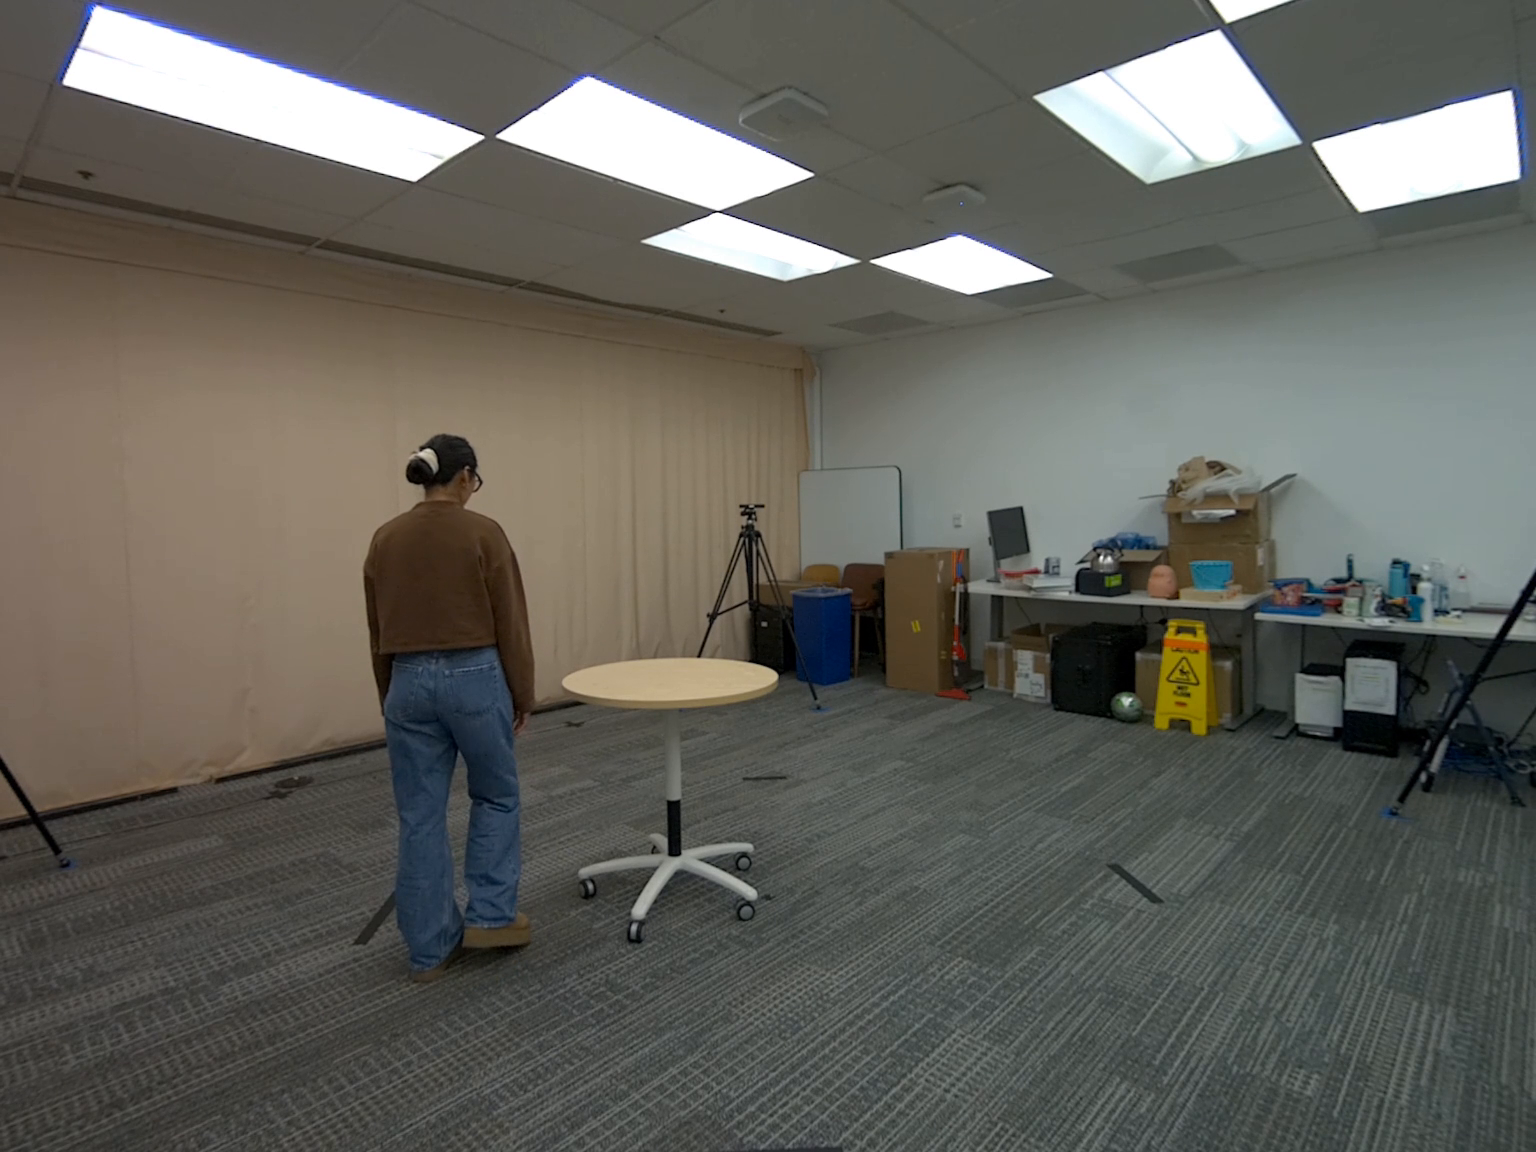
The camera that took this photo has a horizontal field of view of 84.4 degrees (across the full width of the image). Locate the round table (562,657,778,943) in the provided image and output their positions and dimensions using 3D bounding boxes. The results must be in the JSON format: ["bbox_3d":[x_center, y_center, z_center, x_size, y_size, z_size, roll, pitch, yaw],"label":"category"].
[{"bbox_3d":[-0.332,0.753,3.021,0.763,0.792,0.766,-1,4,-2],"label":"round table"}]
